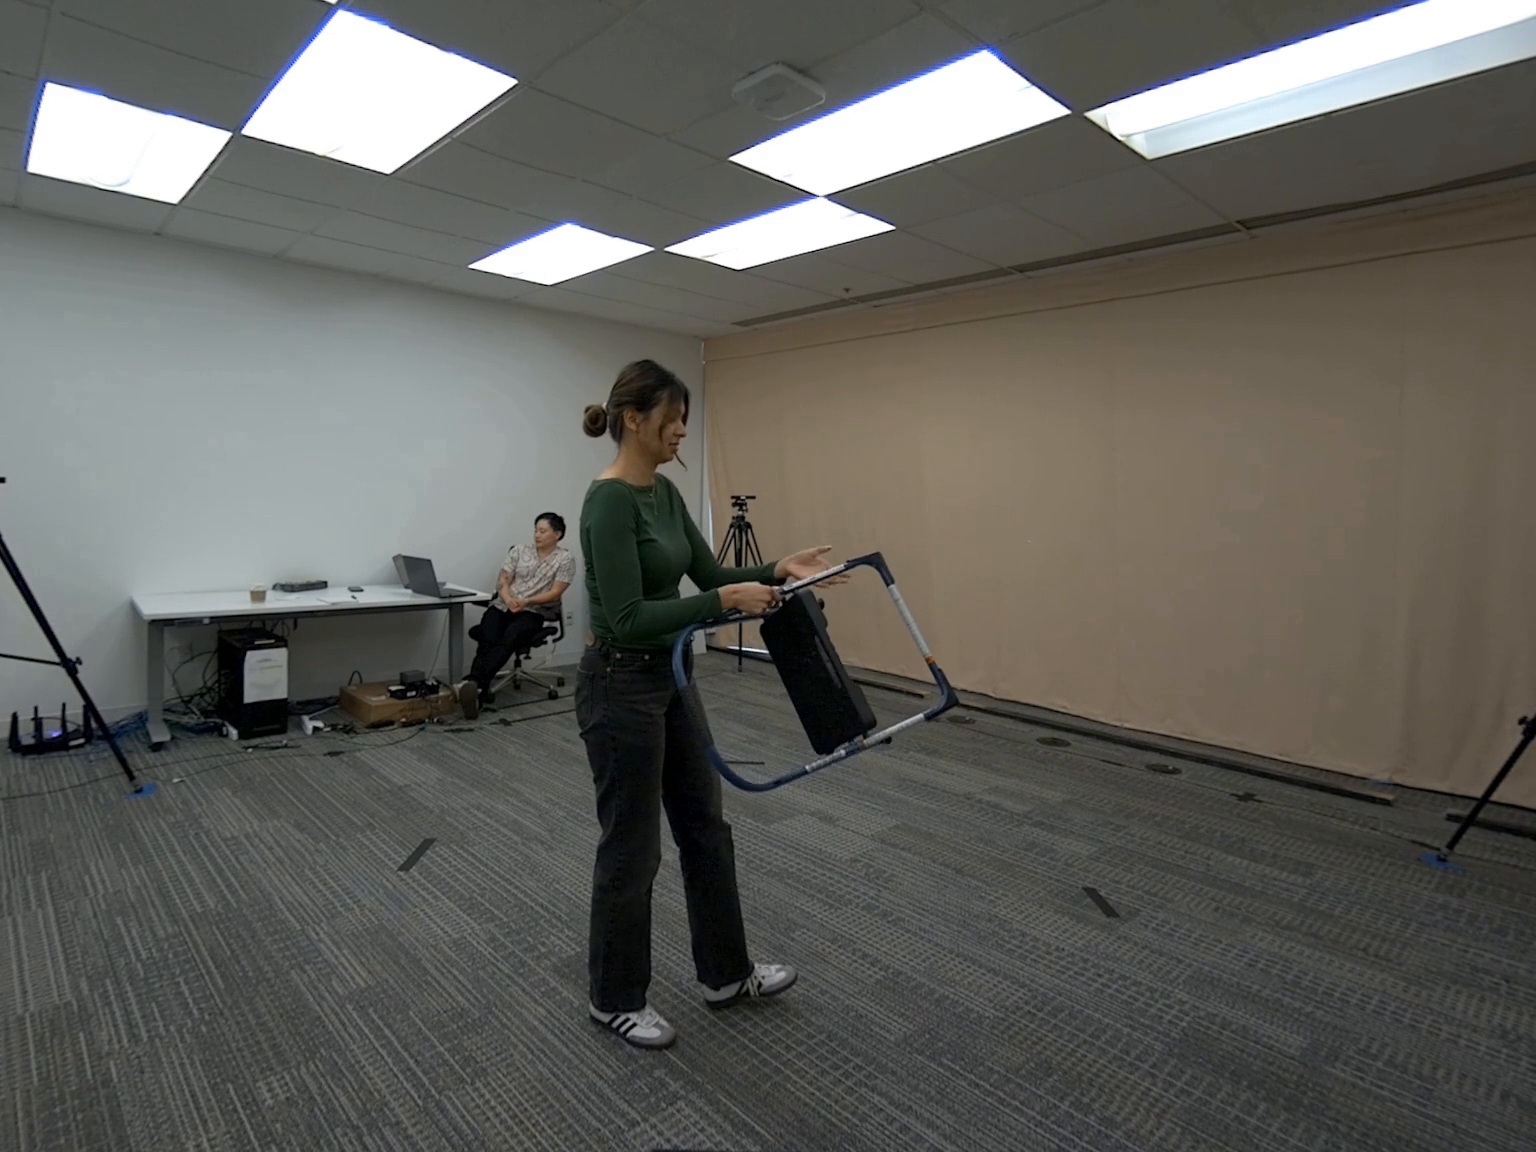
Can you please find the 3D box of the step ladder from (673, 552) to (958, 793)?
[{"bbox_3d":[0.049,0.261,2.003,0.597,0.438,0.349,-15,-19,-31],"label":"step ladder"}]
